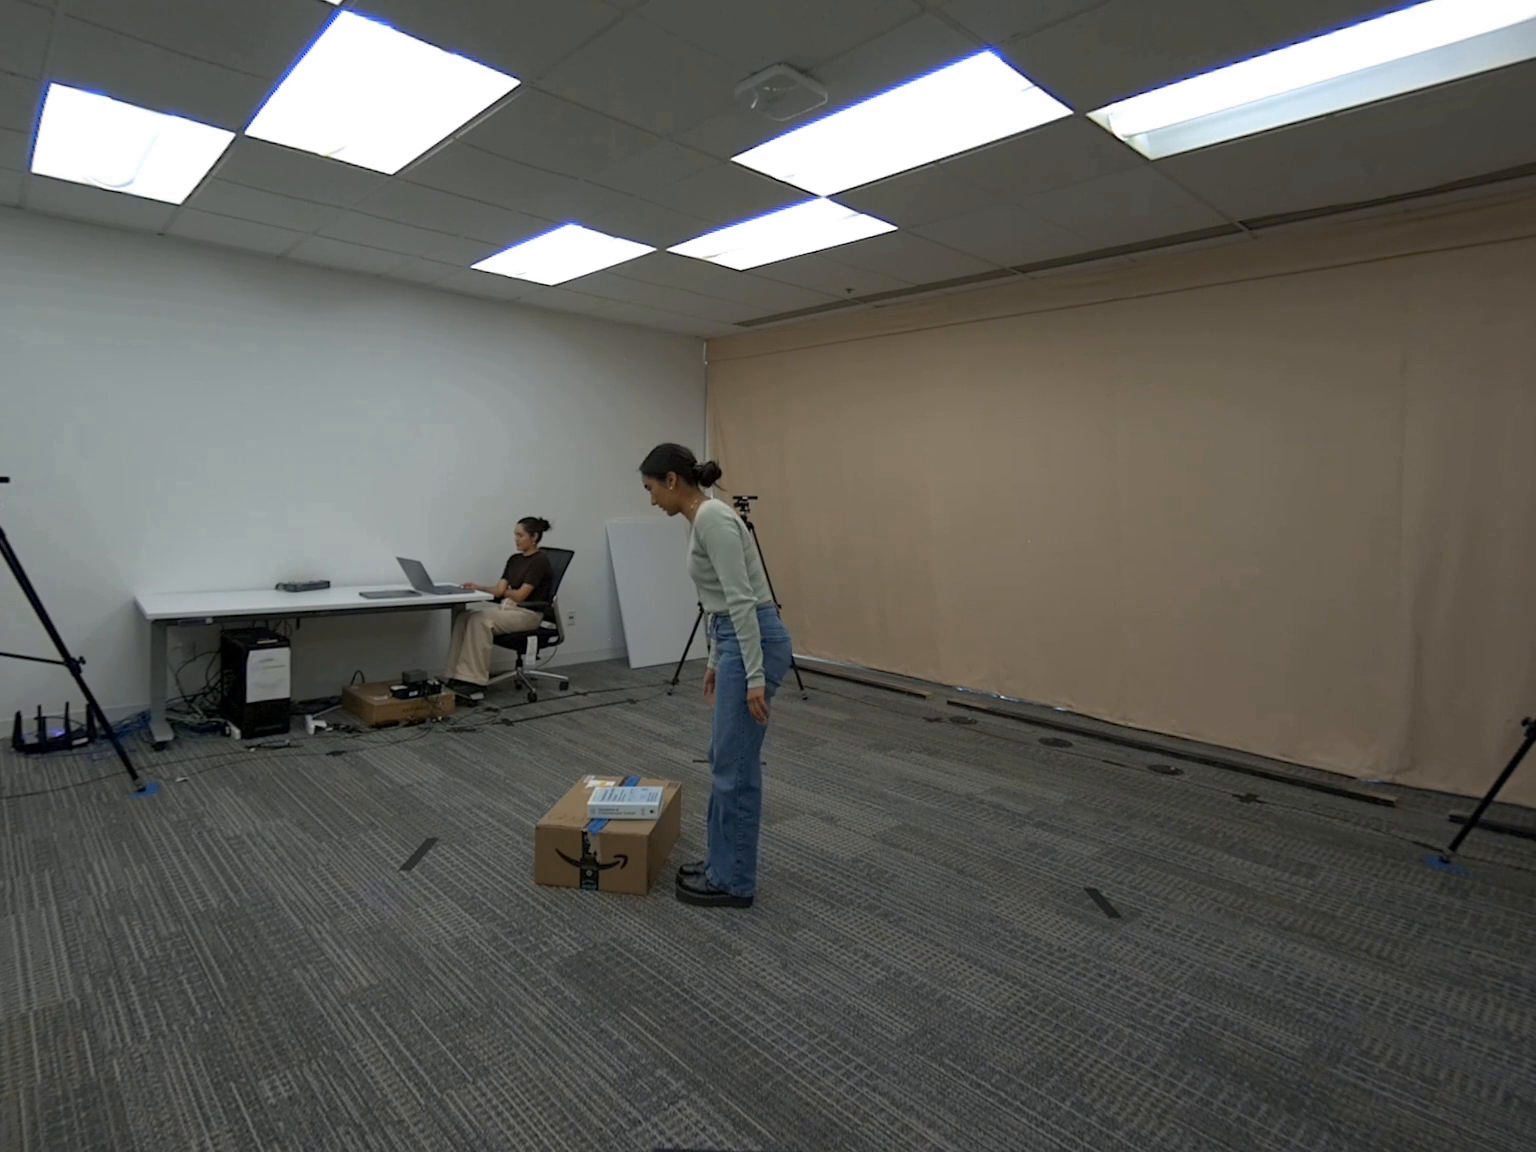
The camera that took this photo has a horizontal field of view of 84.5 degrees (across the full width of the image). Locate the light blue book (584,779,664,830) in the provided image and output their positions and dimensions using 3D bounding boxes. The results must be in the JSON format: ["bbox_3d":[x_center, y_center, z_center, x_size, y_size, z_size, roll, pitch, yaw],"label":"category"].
[{"bbox_3d":[-0.541,0.850,3.153,0.261,0.059,0.192,0,5,0],"label":"light blue book"}]
